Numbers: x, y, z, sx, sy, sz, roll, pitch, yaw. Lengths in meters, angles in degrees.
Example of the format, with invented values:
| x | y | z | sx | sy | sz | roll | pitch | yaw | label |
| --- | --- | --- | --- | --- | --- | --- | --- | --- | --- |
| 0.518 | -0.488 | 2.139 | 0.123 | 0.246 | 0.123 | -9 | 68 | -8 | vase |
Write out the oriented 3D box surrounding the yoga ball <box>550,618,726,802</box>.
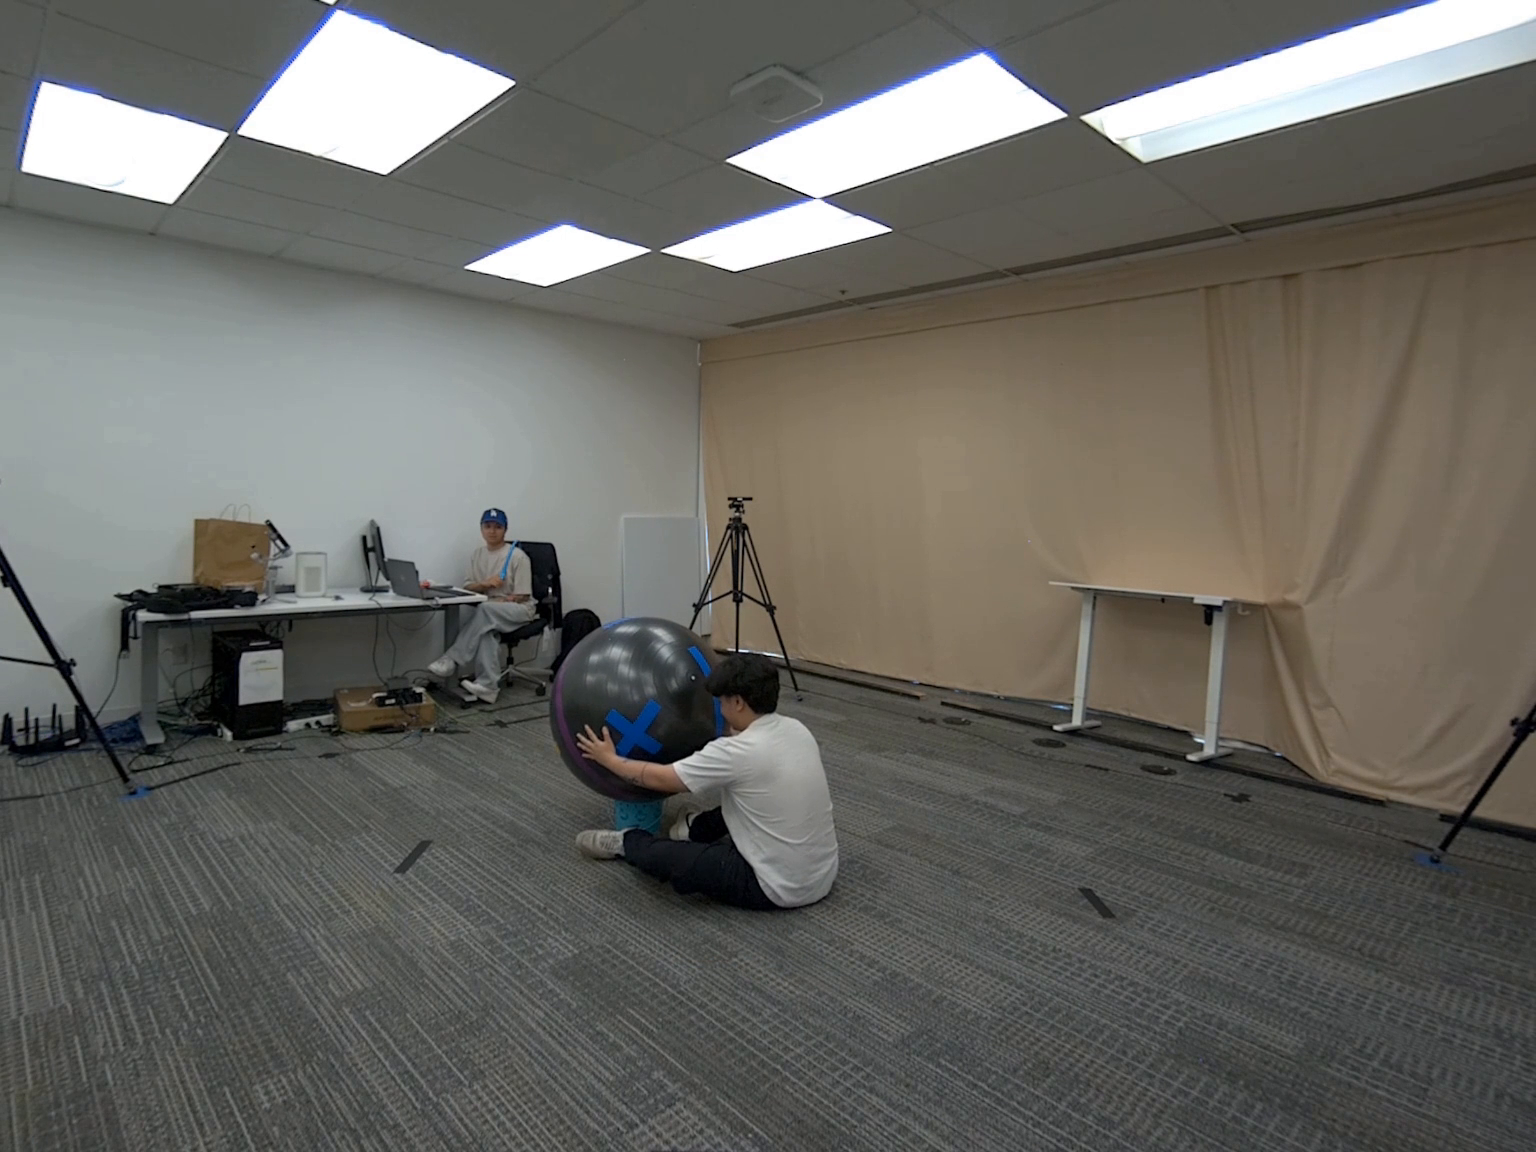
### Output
| x | y | z | sx | sy | sz | roll | pitch | yaw | label |
| --- | --- | --- | --- | --- | --- | --- | --- | --- | --- |
| -0.531 | 0.552 | 3.515 | 0.757 | 0.756 | 0.760 | 1 | 4 | -1 | yoga ball |
